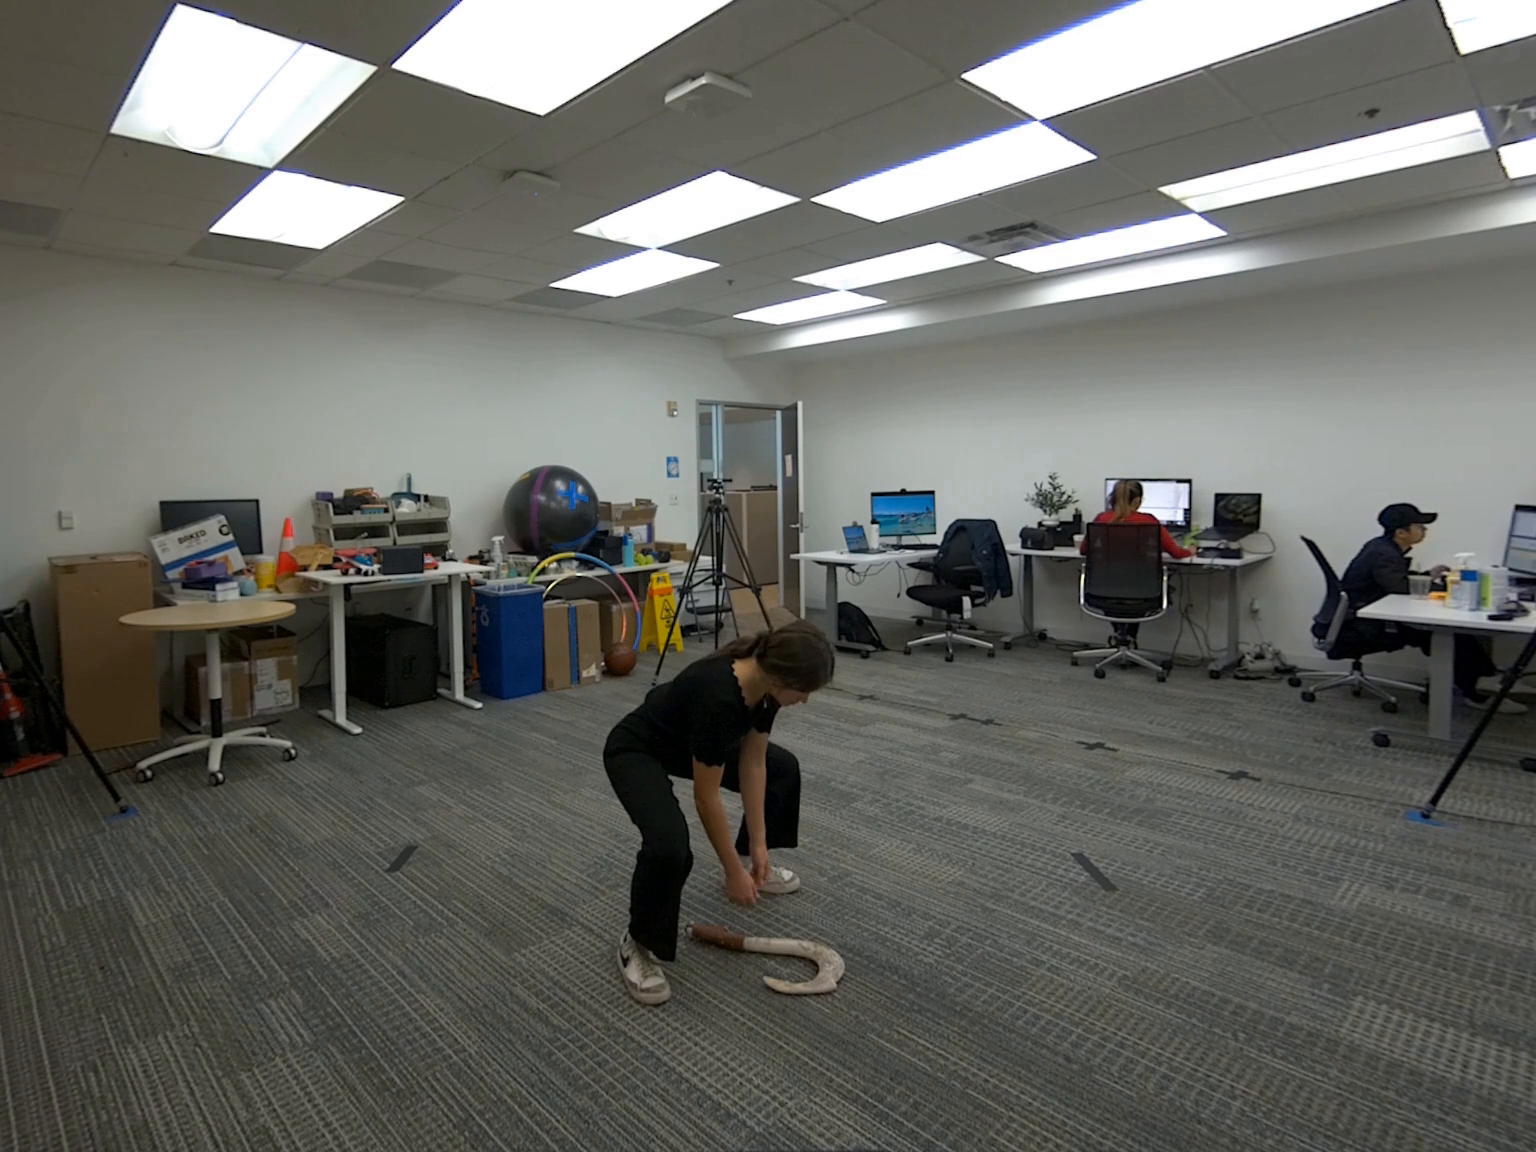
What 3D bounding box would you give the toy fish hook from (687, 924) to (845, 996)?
[{"bbox_3d":[-0.035,1.094,2.466,0.518,0.048,0.220,1,5,24],"label":"toy fish hook"}]
